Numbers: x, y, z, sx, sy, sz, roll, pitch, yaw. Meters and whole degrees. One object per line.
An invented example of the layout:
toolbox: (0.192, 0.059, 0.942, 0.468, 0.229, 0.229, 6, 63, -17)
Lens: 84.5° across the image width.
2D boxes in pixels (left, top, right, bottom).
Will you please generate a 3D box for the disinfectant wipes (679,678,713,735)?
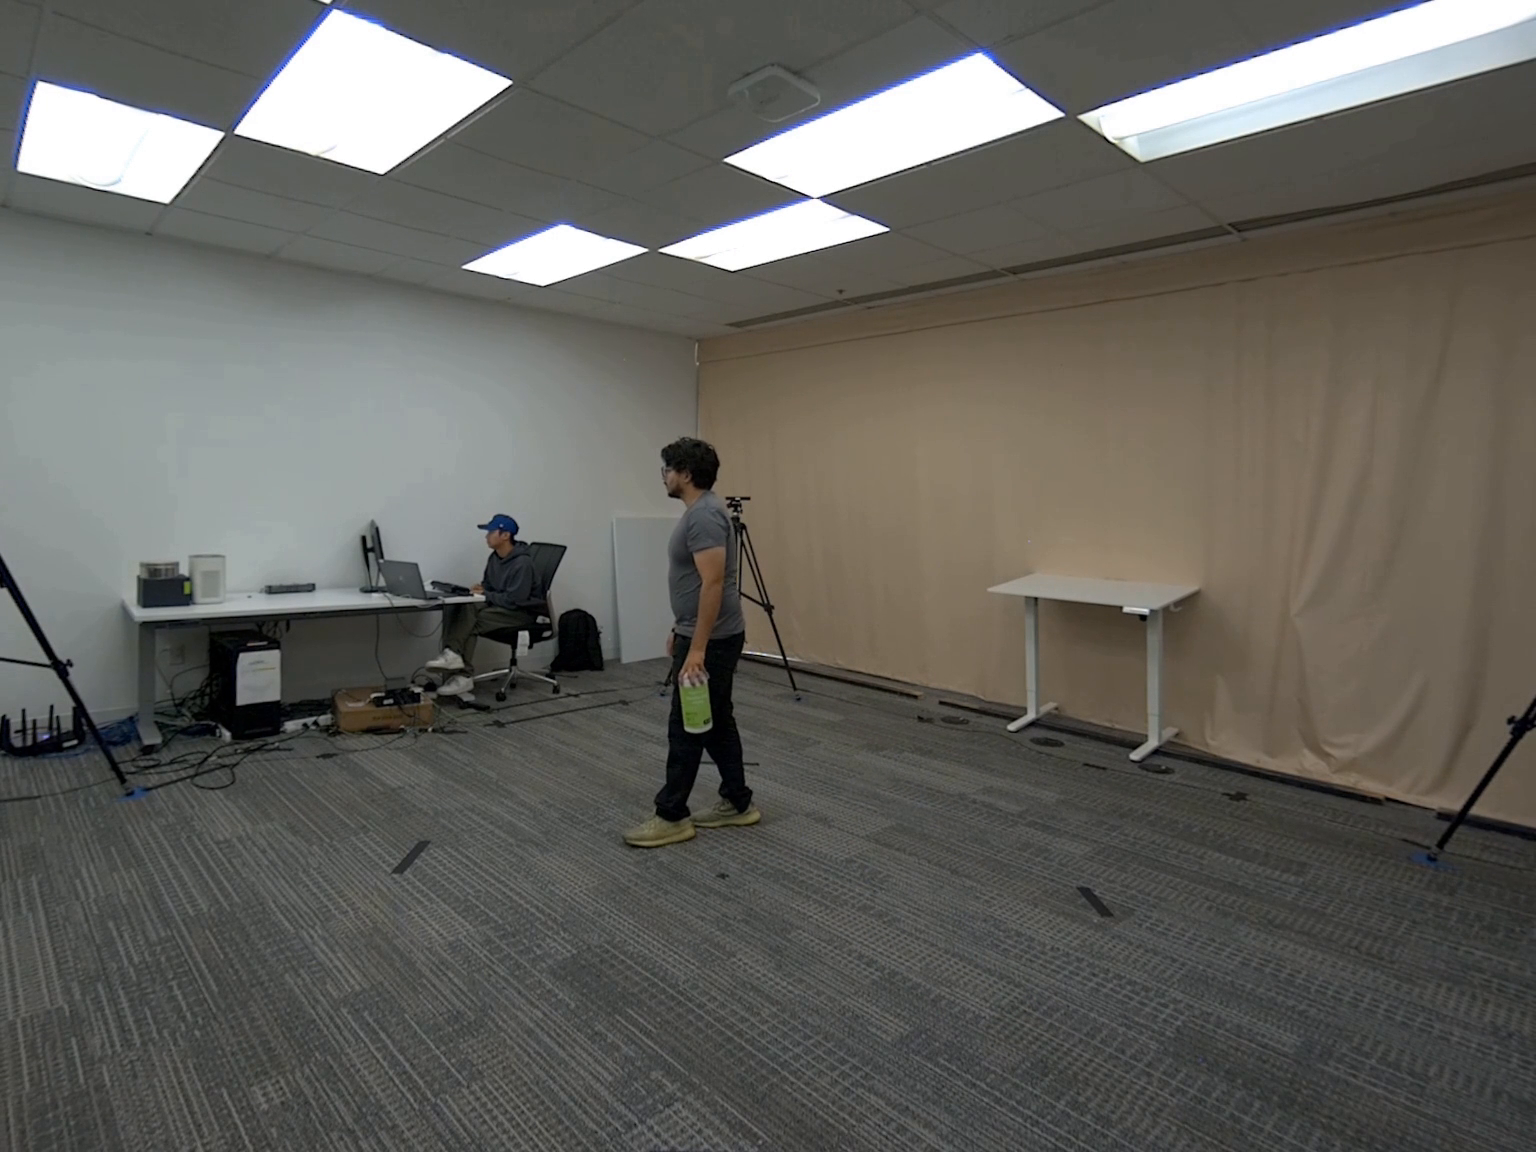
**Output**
disinfectant wipes: (-0.298, 0.480, 3.201, 0.118, 0.216, 0.119, -4, 11, -1)
